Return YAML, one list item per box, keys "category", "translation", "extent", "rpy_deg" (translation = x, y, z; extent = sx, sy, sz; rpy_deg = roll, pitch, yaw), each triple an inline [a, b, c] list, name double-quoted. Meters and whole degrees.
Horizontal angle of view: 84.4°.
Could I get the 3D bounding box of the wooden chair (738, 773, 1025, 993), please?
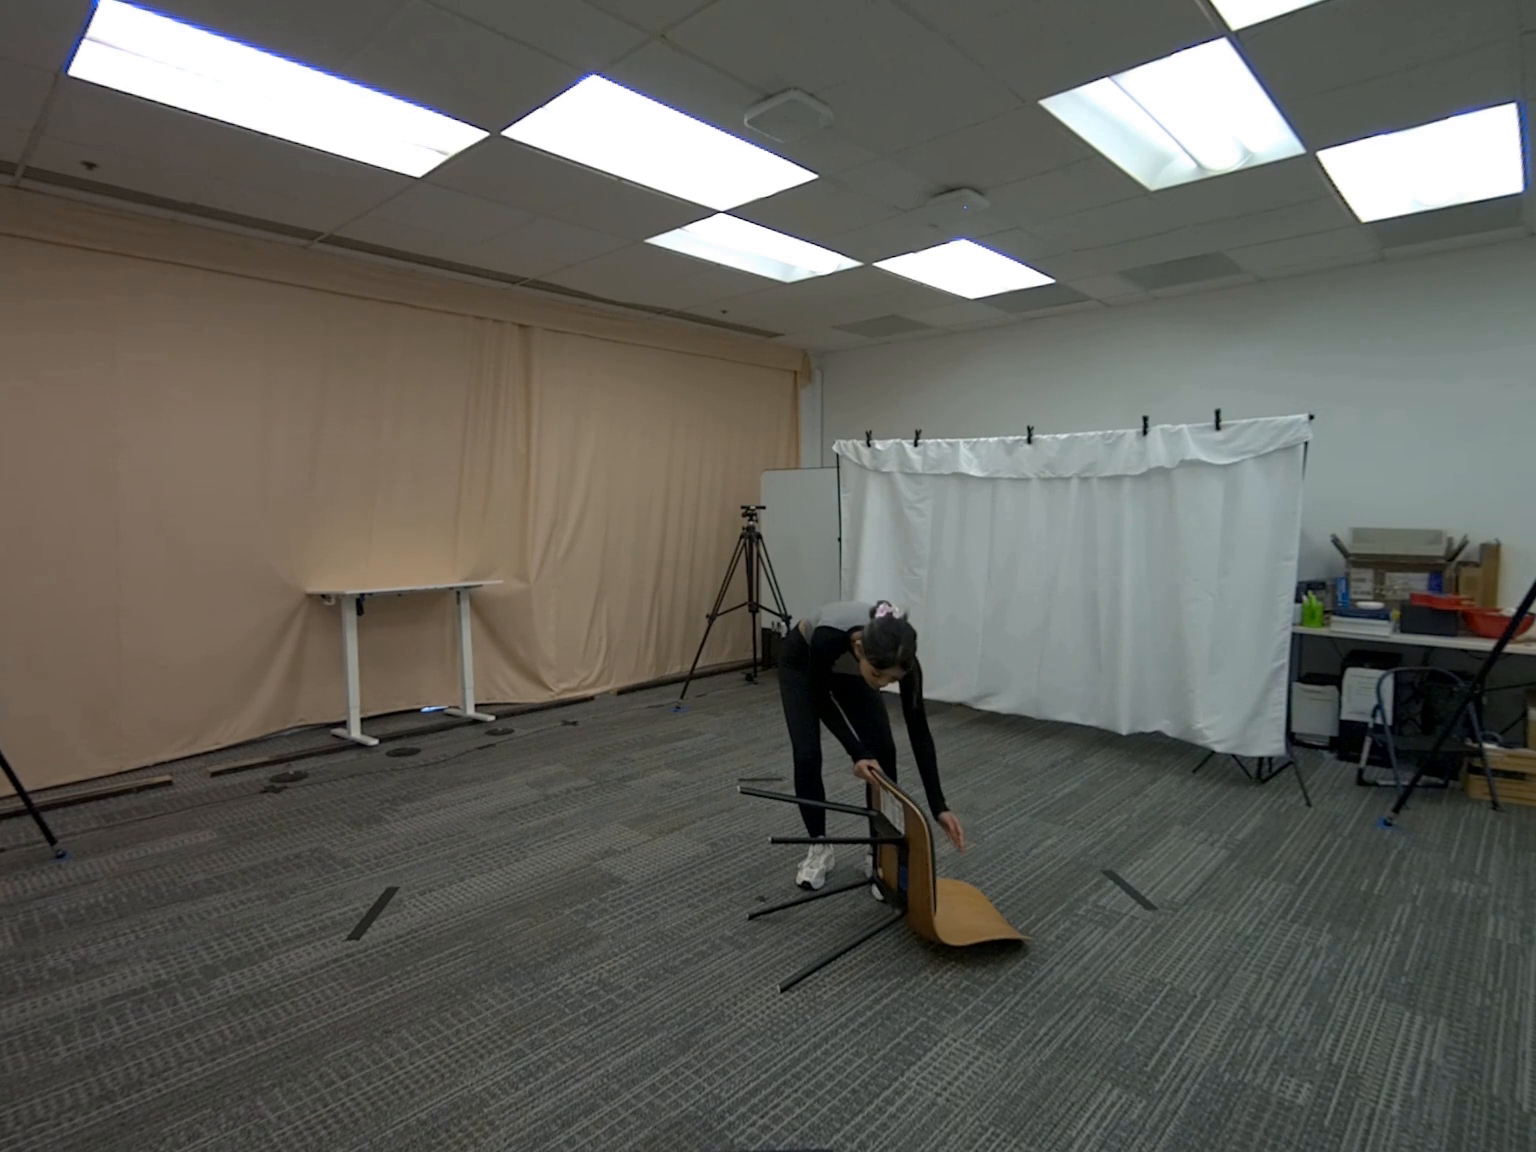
- category: "wooden chair"
  translation: [0.385, 0.909, 2.671]
  extent: [0.868, 0.522, 0.484]
  rpy_deg: [0, 4, -10]
